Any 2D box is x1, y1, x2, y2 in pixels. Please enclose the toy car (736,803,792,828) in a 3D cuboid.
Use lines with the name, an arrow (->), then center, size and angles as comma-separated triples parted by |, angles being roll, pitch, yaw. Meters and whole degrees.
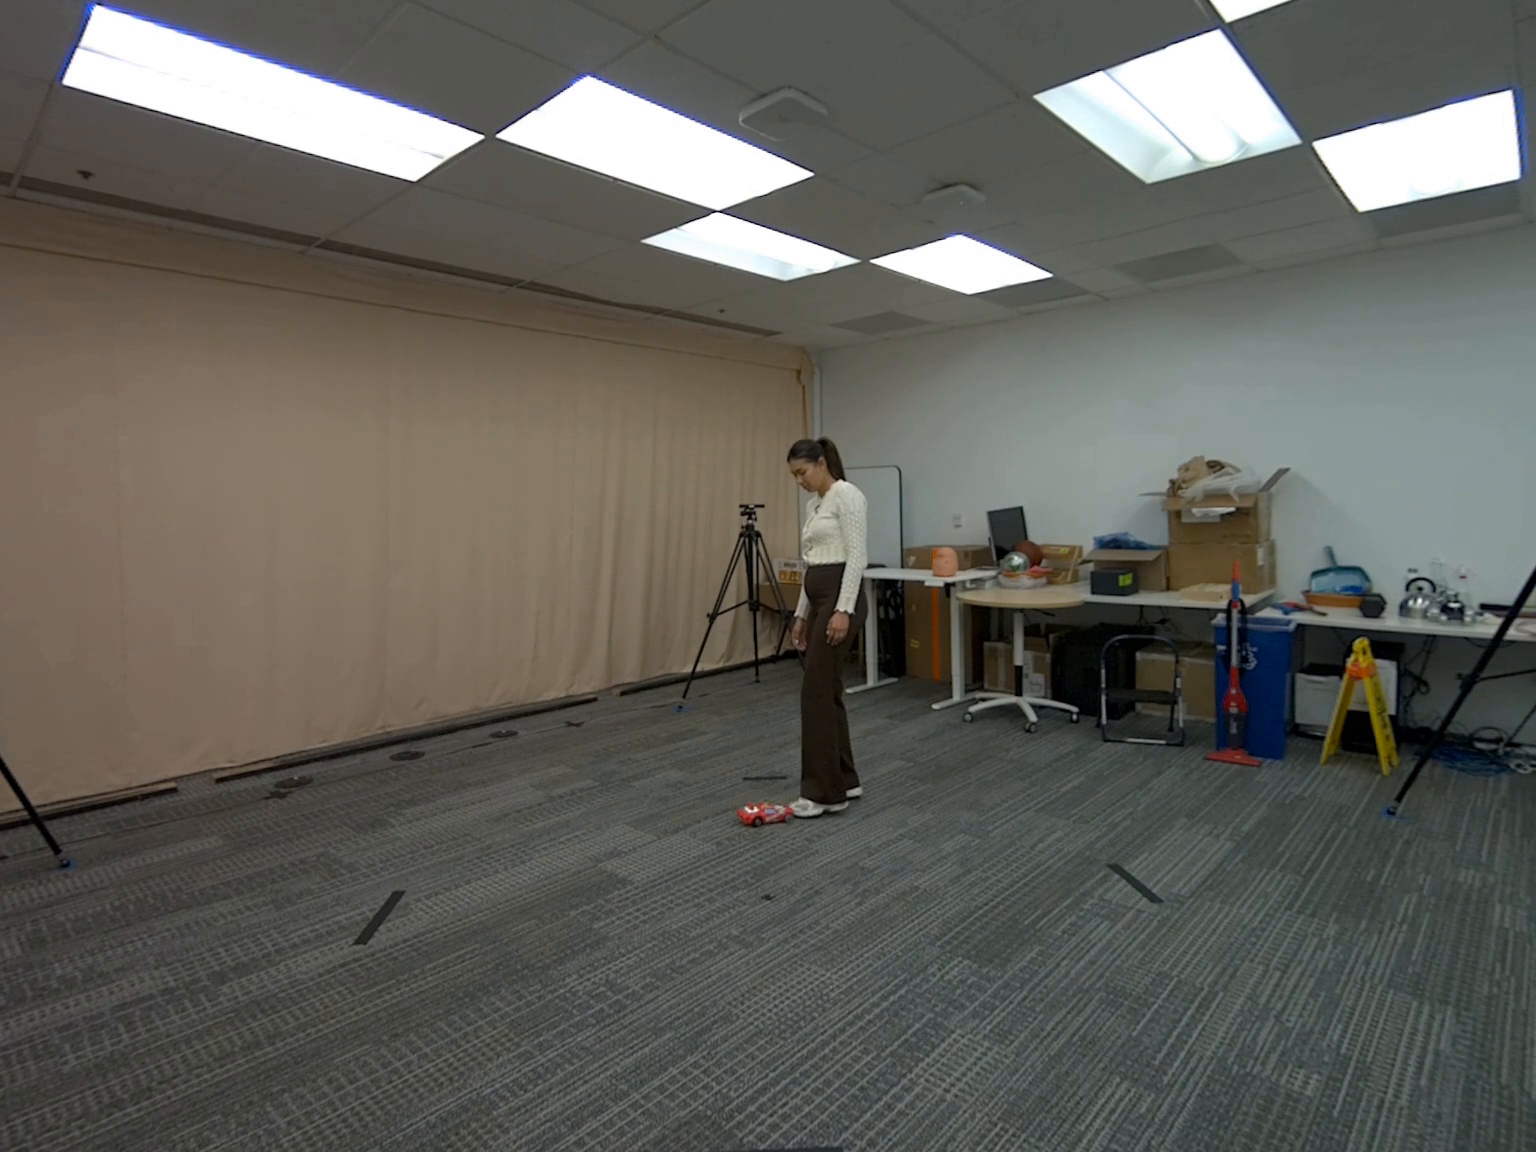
toy car -> -0.028, 1.048, 3.697 | 0.249, 0.083, 0.133 | 9, 1, -20
